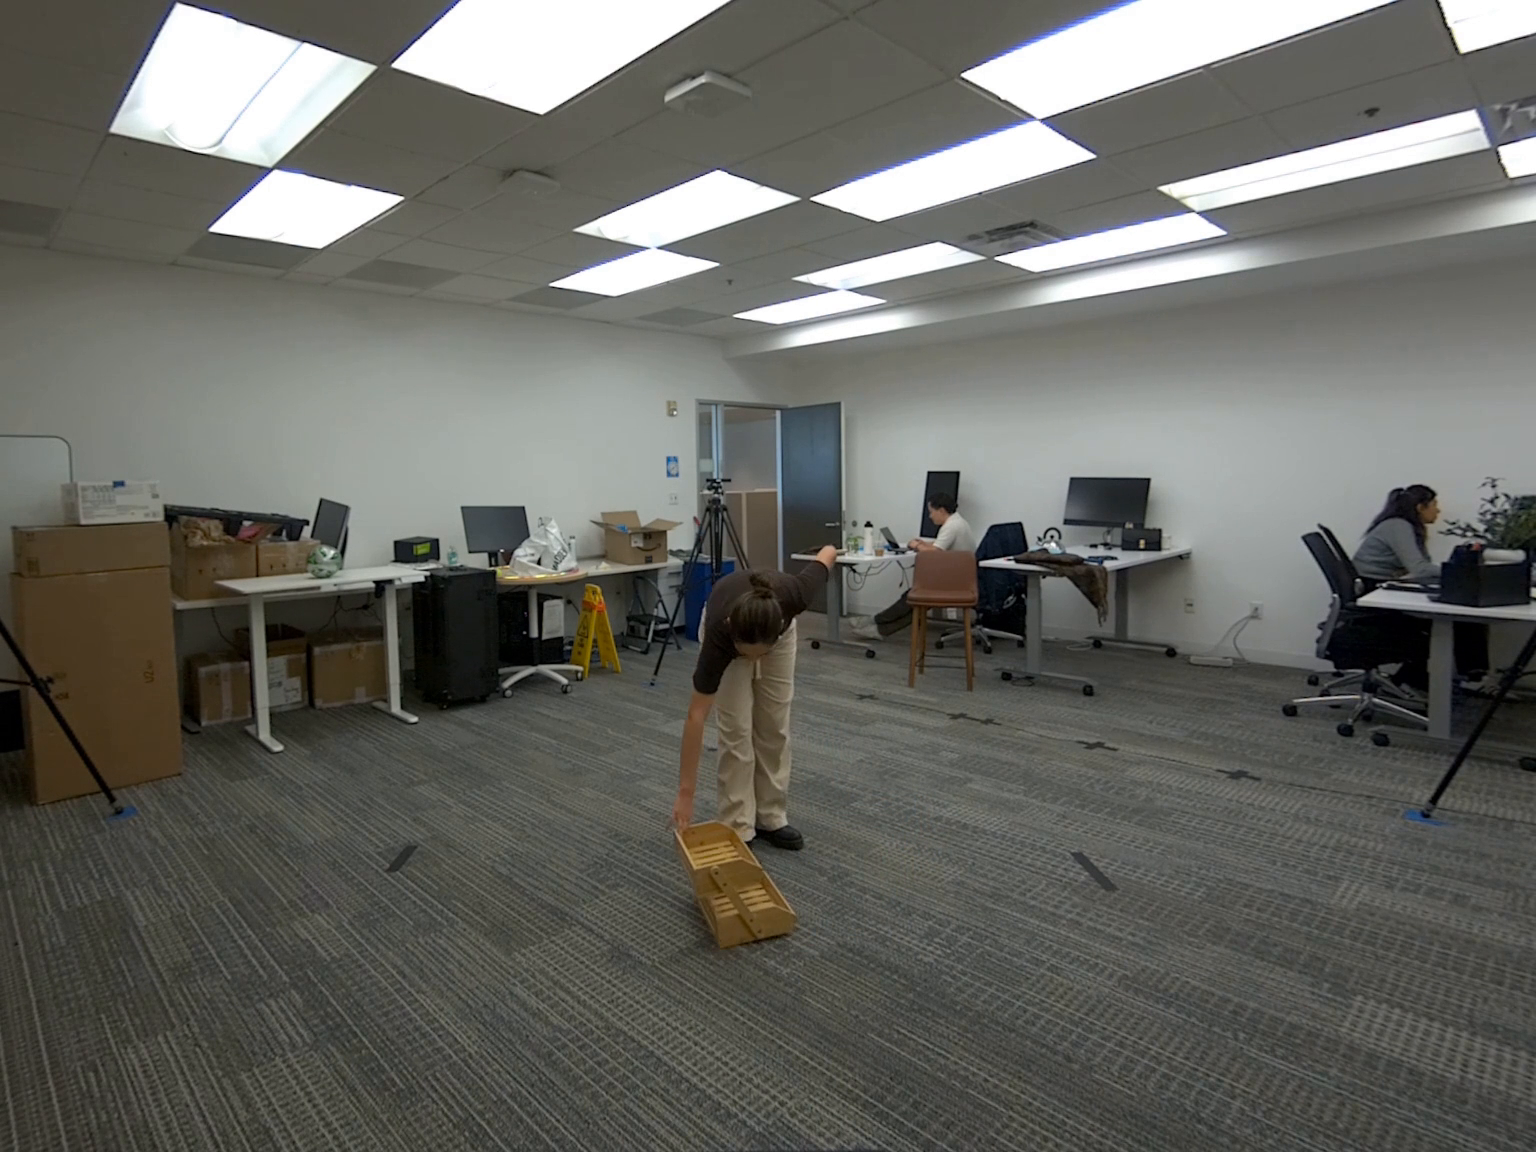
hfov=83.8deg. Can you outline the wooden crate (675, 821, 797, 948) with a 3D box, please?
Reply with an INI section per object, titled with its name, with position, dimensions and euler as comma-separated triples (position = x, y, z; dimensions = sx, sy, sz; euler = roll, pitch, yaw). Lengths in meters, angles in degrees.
[wooden crate]
position = -0.105, 0.953, 2.704
dimensions = 0.298, 0.272, 0.331
euler = -8, 7, -16
